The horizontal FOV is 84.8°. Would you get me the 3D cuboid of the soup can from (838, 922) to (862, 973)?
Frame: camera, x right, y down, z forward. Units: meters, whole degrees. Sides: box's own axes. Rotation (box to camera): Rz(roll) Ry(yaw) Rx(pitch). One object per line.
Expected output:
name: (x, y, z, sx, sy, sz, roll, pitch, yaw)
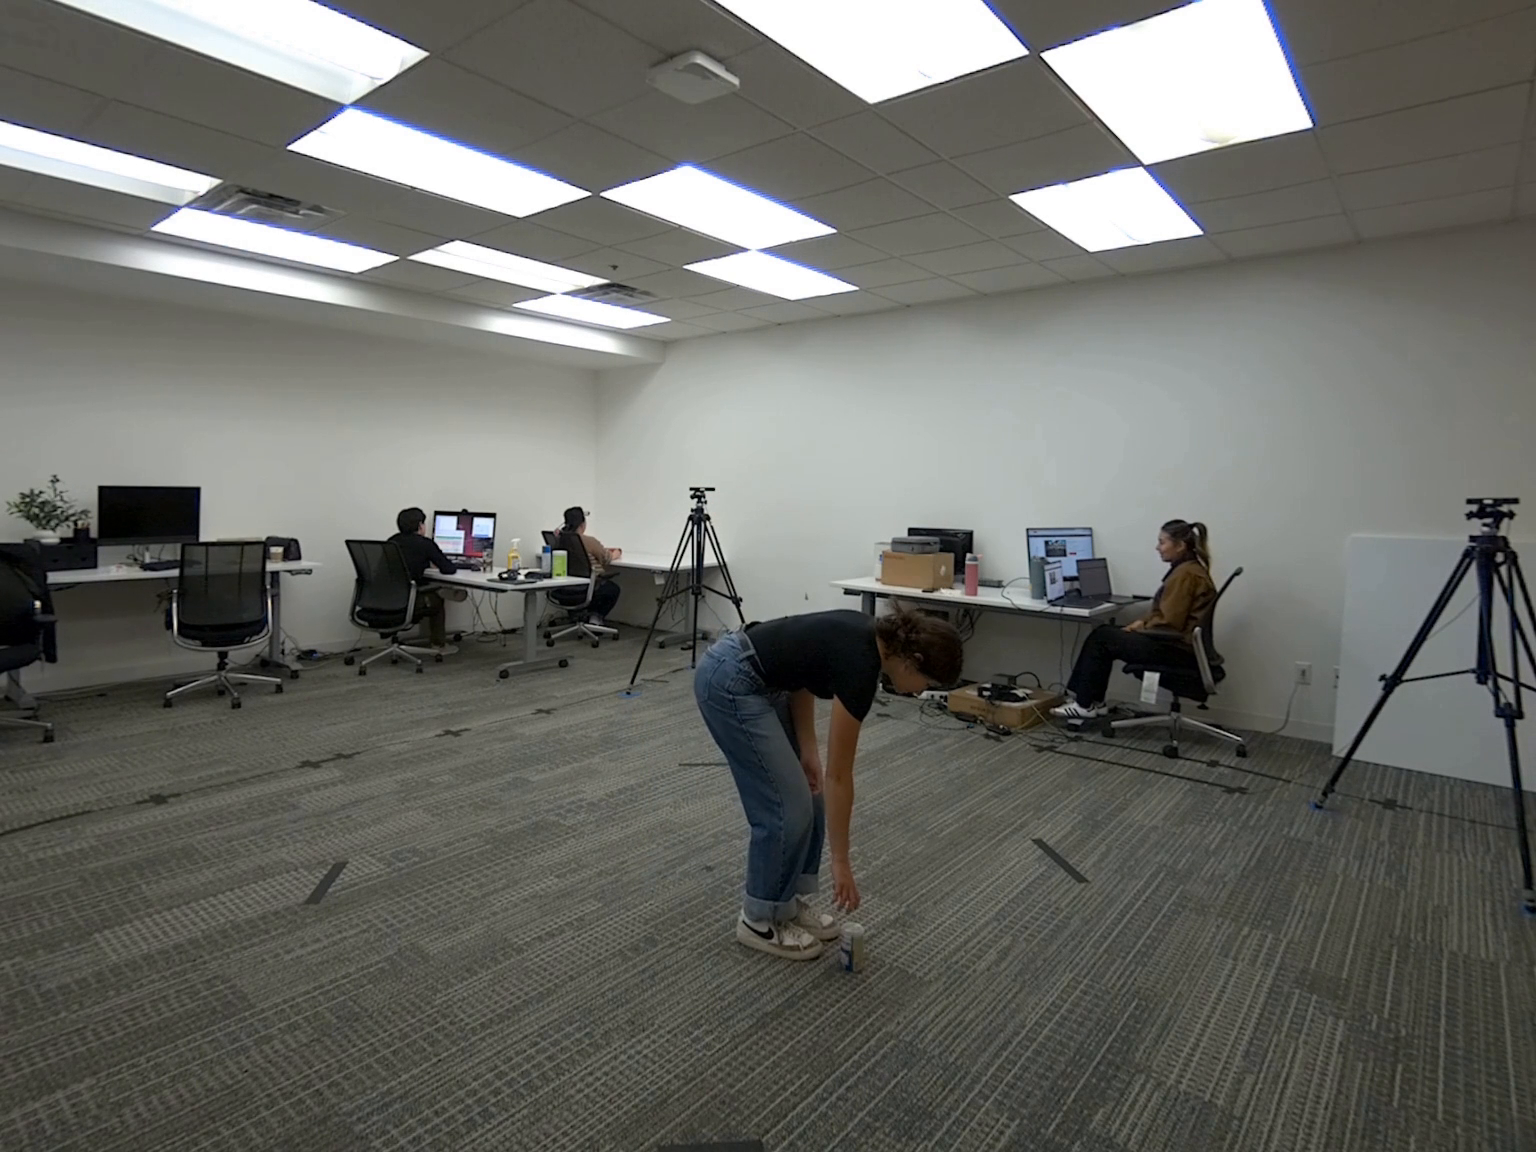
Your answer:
soup can: (0.239, 1.081, 2.475, 0.067, 0.121, 0.067, 3, 4, -2)
